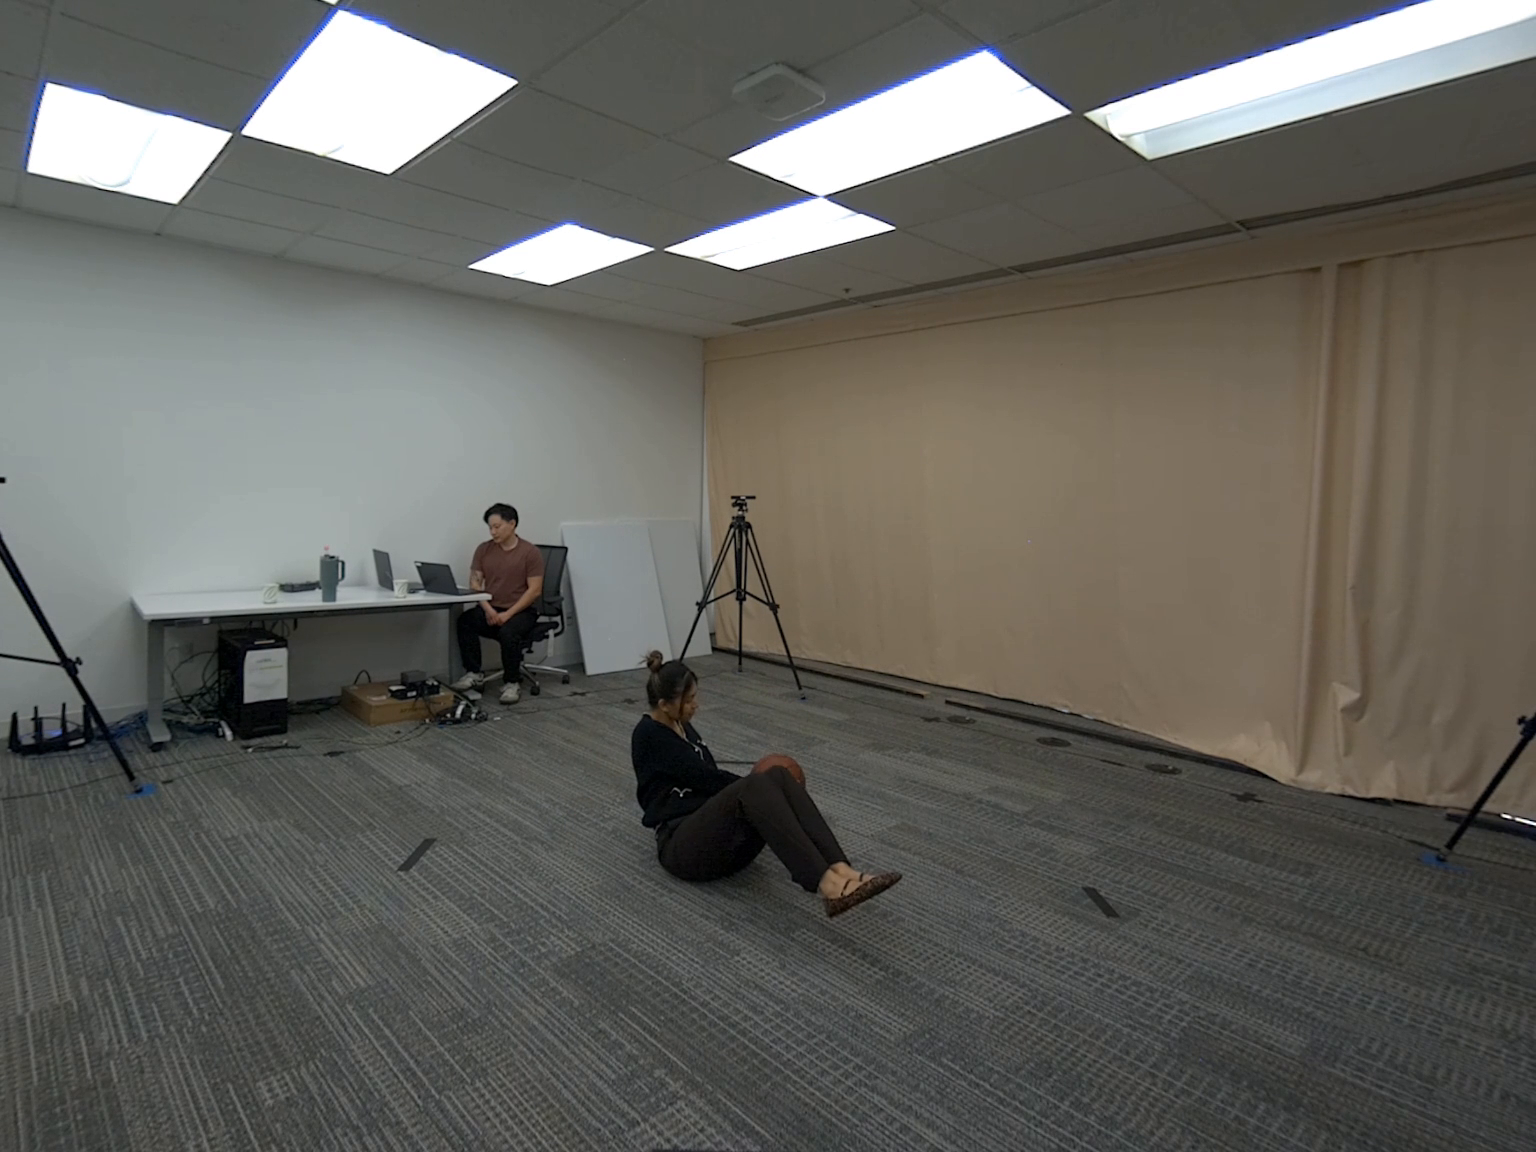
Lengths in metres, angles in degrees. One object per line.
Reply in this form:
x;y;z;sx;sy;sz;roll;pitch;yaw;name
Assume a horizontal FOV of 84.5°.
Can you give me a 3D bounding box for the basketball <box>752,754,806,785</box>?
0.036;0.846;3.475;0.236;0.235;0.237;1;4;-1;basketball
